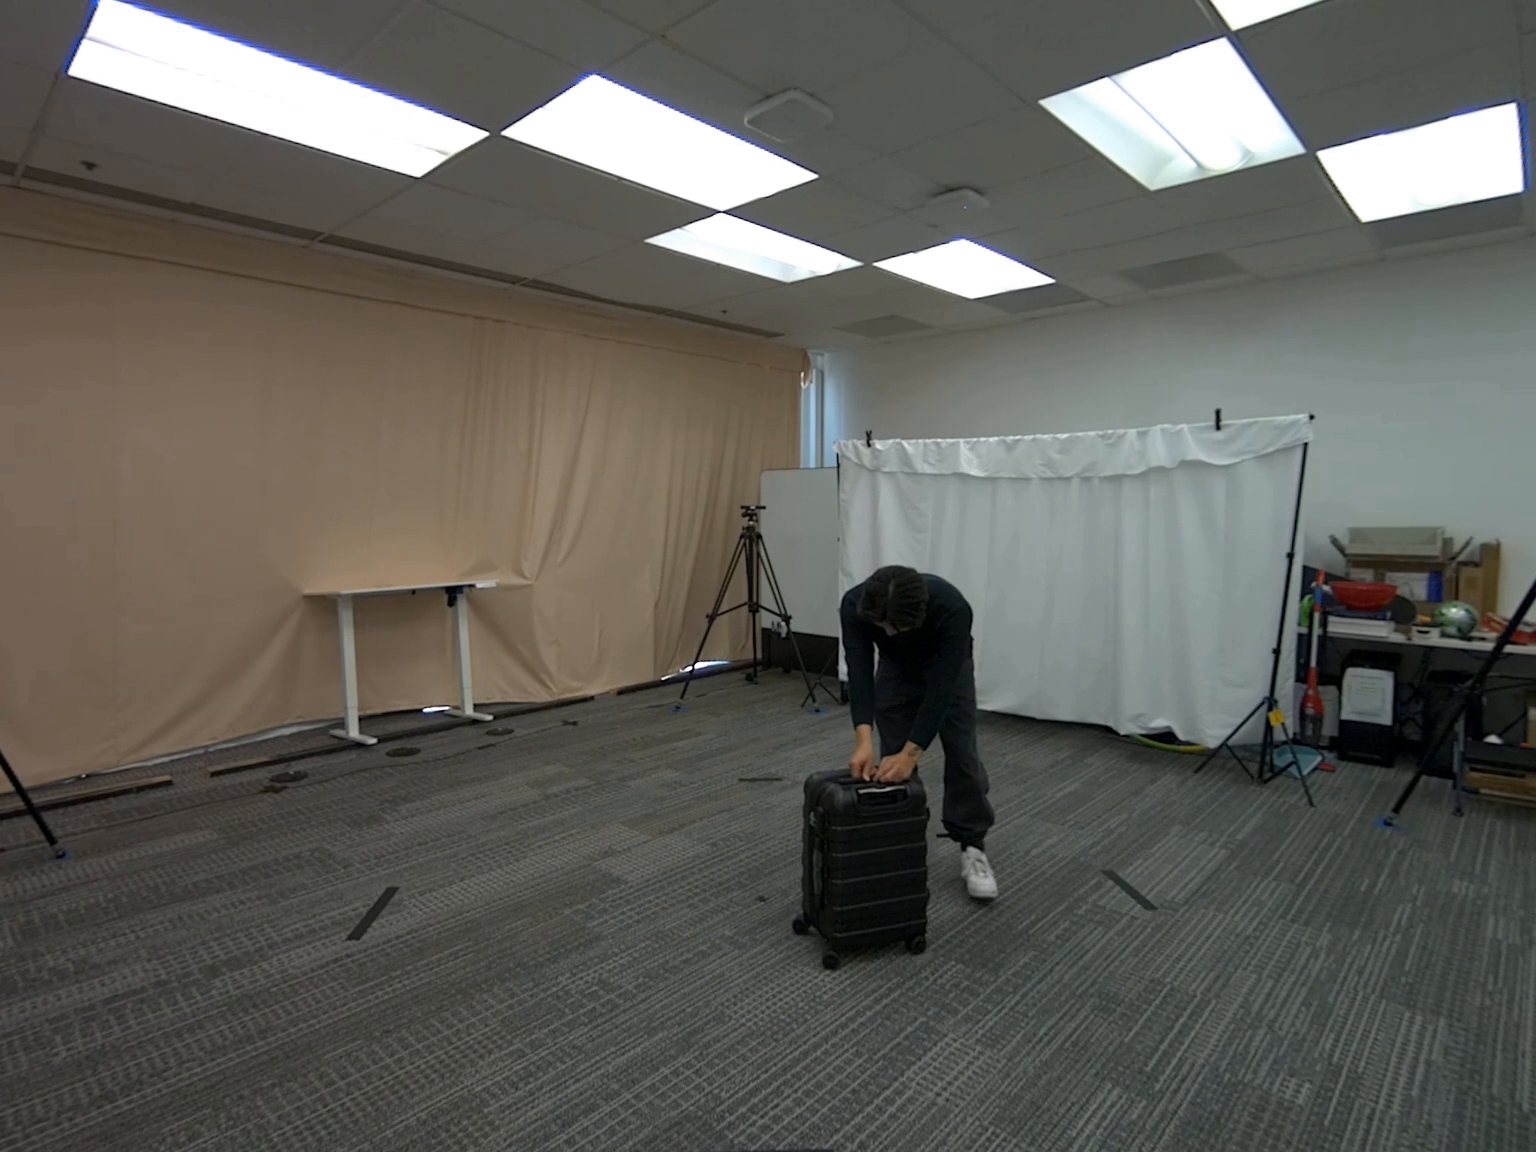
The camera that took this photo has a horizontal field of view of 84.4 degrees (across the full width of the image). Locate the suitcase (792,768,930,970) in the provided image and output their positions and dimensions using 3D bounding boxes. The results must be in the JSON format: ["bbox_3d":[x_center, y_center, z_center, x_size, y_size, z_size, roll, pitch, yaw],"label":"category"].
[{"bbox_3d":[0.307,0.893,2.672,0.368,0.548,0.253,0,2,-19],"label":"suitcase"}]
